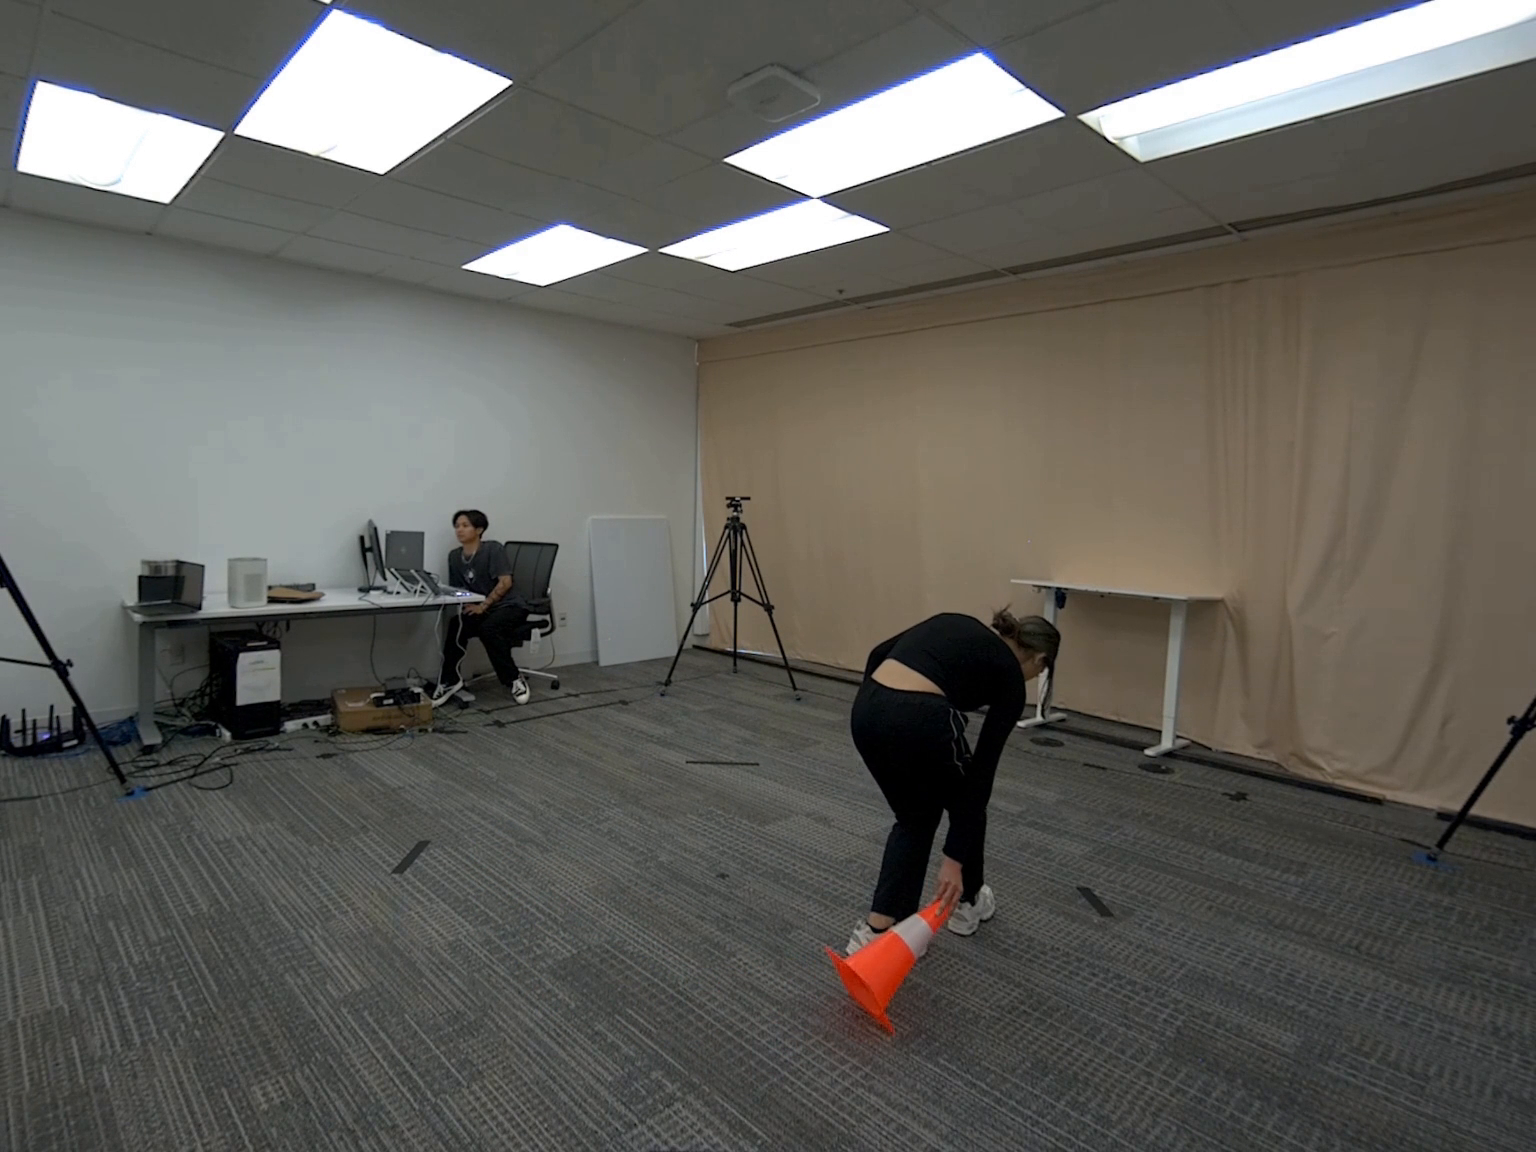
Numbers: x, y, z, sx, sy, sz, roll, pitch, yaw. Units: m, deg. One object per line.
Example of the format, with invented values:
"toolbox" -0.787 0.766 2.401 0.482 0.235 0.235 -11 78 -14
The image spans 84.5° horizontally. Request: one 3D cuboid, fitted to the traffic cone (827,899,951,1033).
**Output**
"traffic cone" 0.379 1.014 2.324 0.381 0.201 0.209 -33 14 -22
